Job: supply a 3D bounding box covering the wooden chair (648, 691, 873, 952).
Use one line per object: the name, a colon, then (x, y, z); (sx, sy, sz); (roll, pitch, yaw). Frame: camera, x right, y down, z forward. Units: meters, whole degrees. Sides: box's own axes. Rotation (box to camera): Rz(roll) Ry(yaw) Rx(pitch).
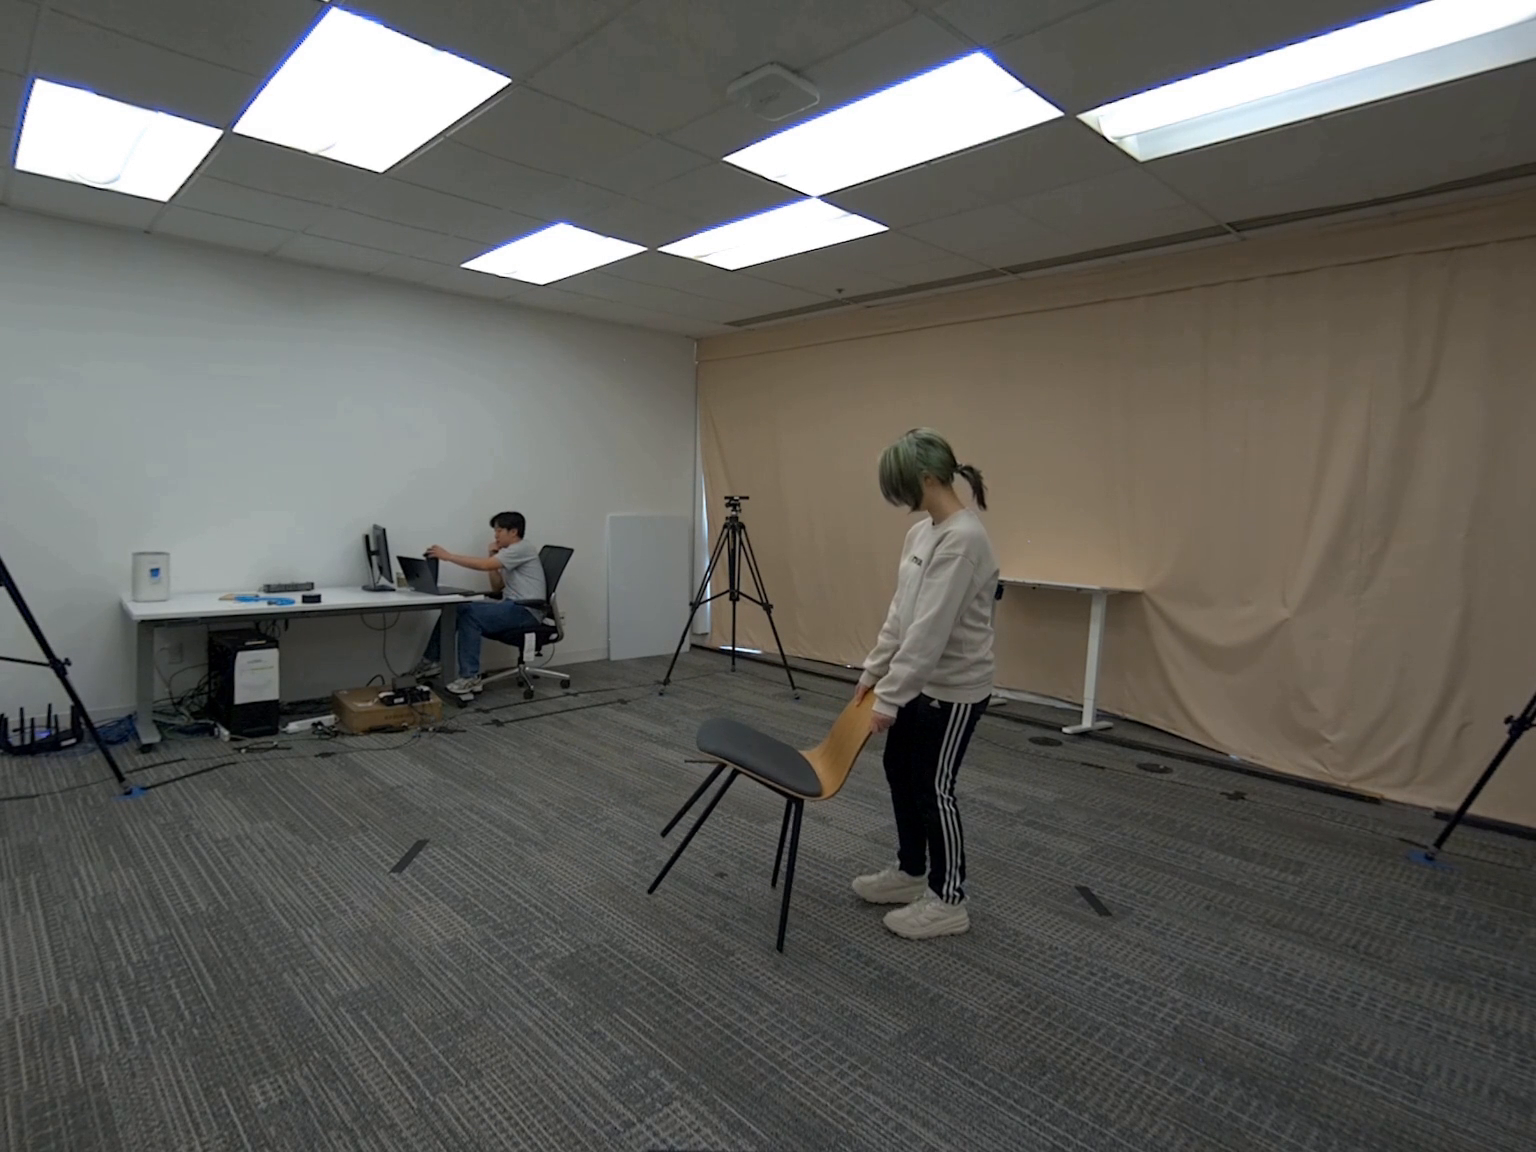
wooden chair: (-0.010, 0.650, 2.767); (0.522, 0.876, 0.480); (29, 3, -3)
